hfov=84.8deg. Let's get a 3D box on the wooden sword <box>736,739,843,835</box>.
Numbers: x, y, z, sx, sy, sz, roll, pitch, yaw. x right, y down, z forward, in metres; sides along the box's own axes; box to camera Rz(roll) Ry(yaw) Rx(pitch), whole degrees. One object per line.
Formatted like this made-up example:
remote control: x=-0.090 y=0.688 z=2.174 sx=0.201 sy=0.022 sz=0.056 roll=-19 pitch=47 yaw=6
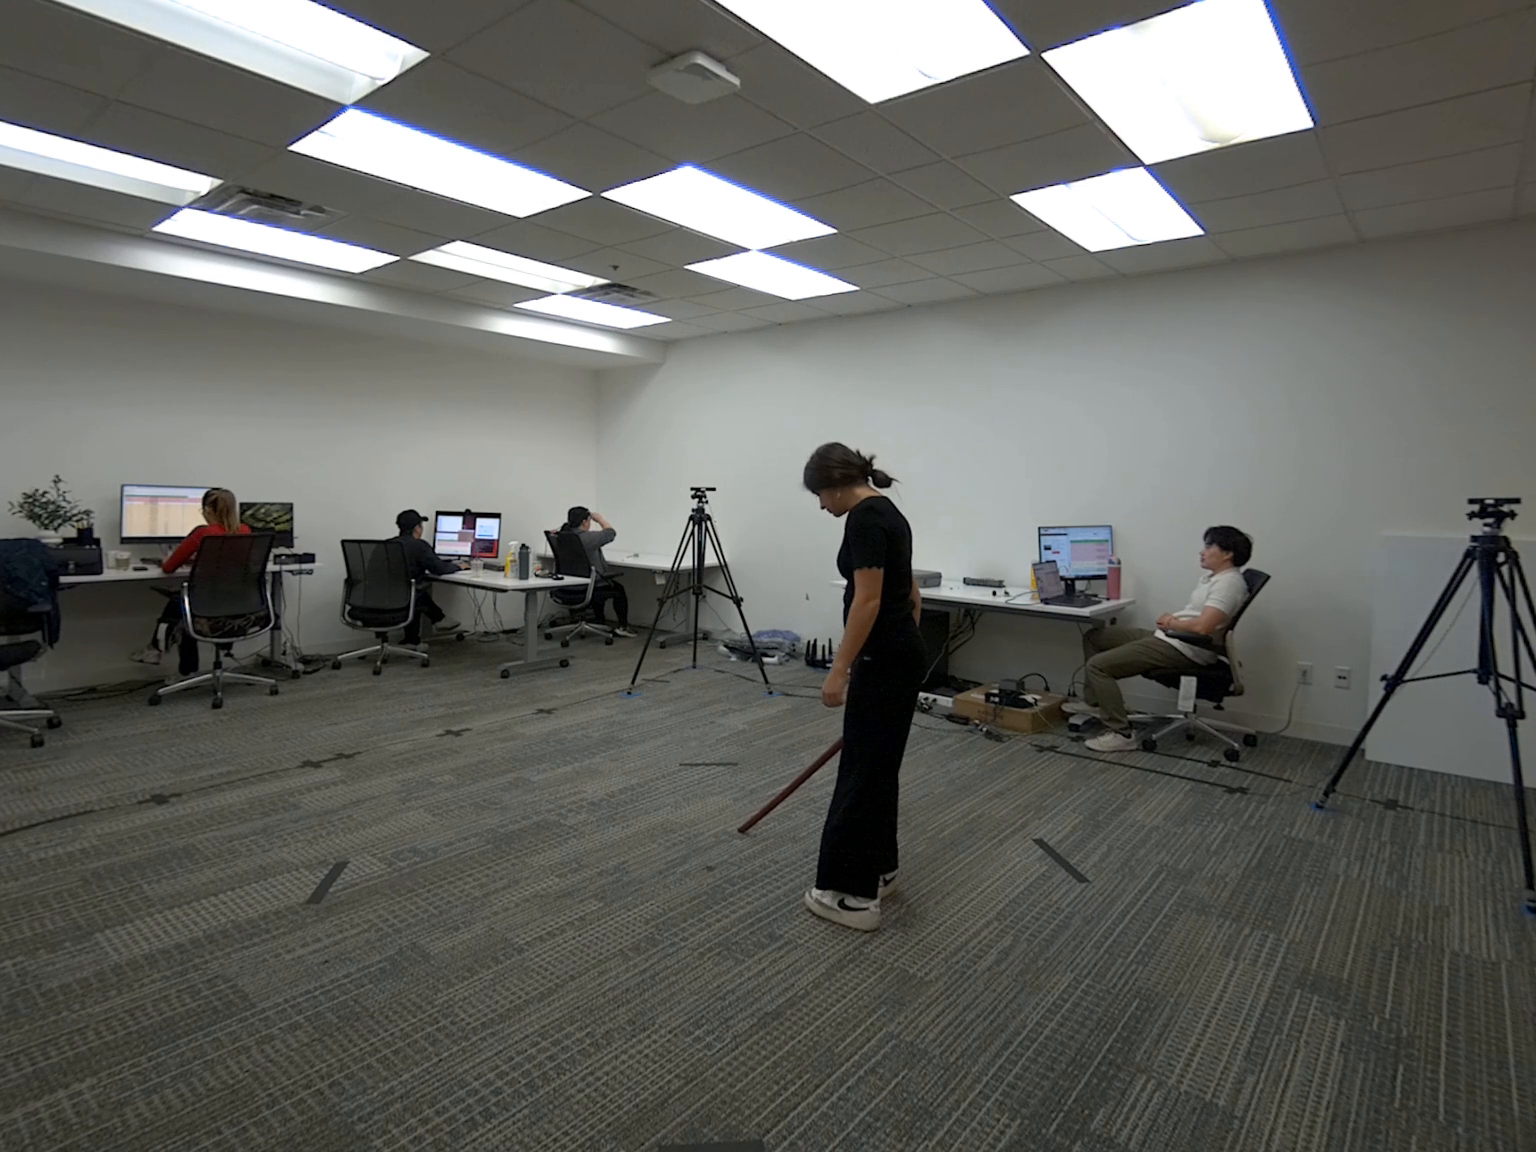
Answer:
wooden sword: x=0.183 y=0.706 z=3.215 sx=0.023 sy=0.053 sz=1.025 roll=17 pitch=-52 yaw=-42
